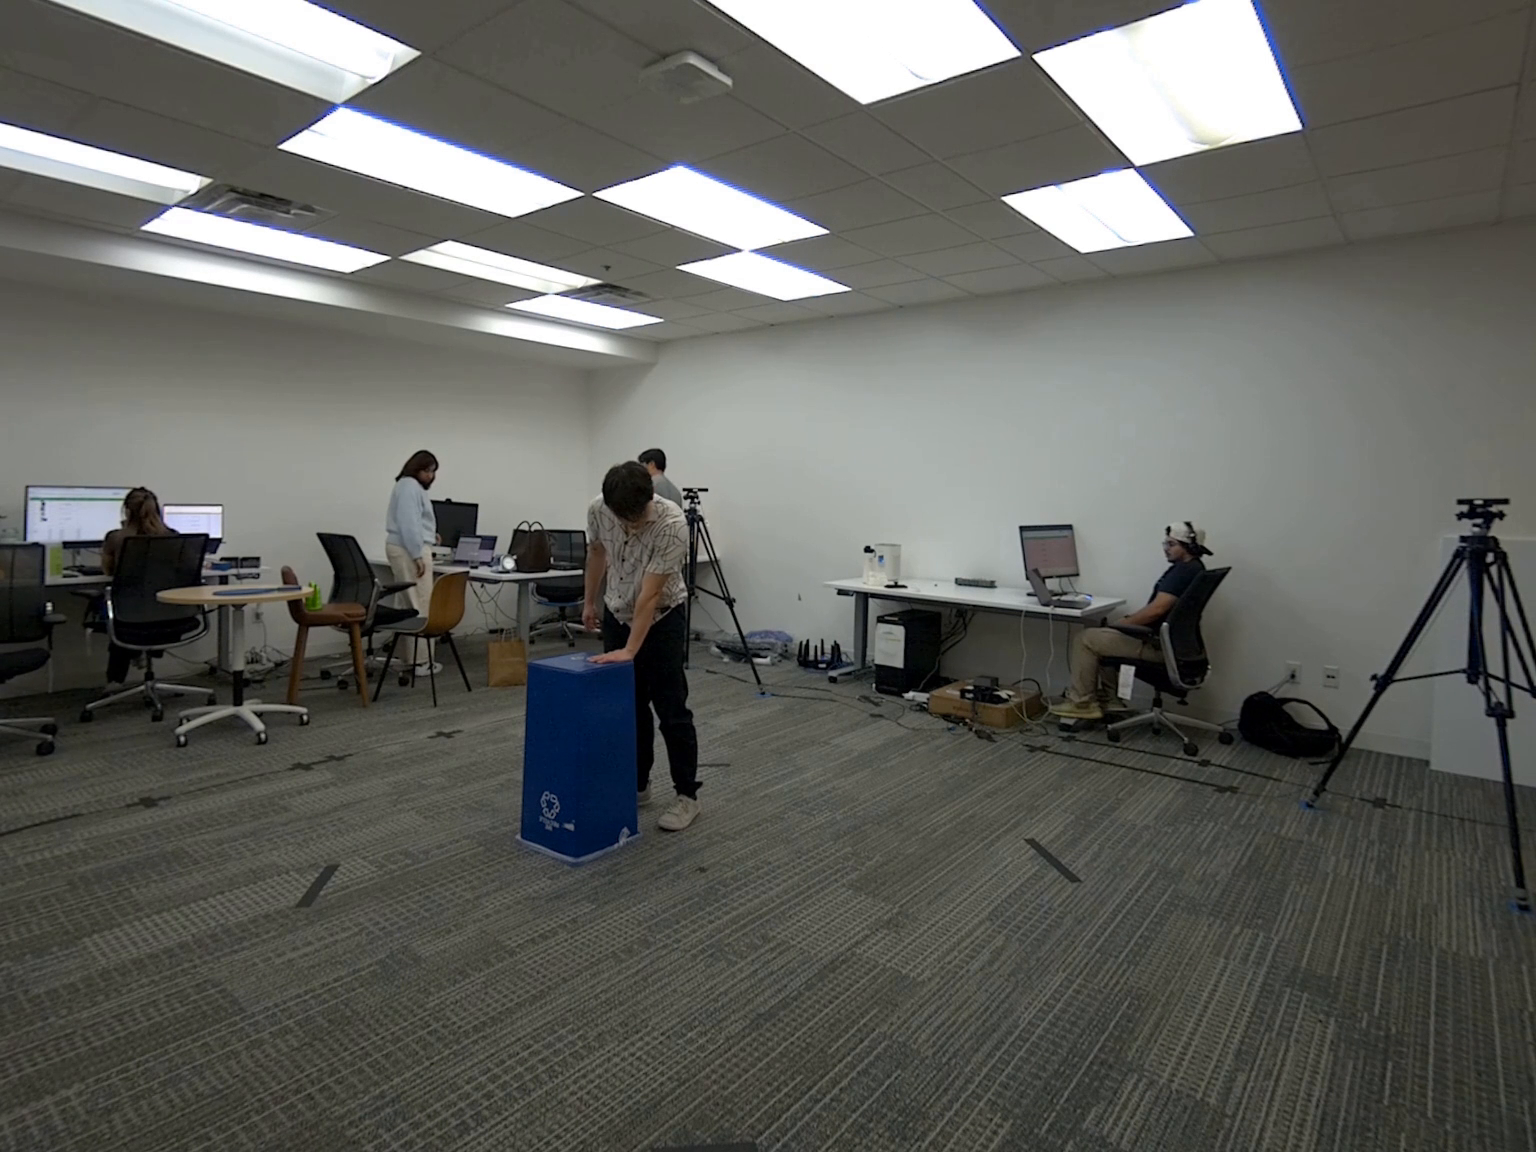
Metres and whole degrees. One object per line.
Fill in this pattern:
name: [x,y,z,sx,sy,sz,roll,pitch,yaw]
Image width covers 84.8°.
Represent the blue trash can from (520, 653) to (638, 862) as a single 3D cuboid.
blue trash can: [-0.757,0.684,3.351,0.386,0.713,0.367,2,2,37]
